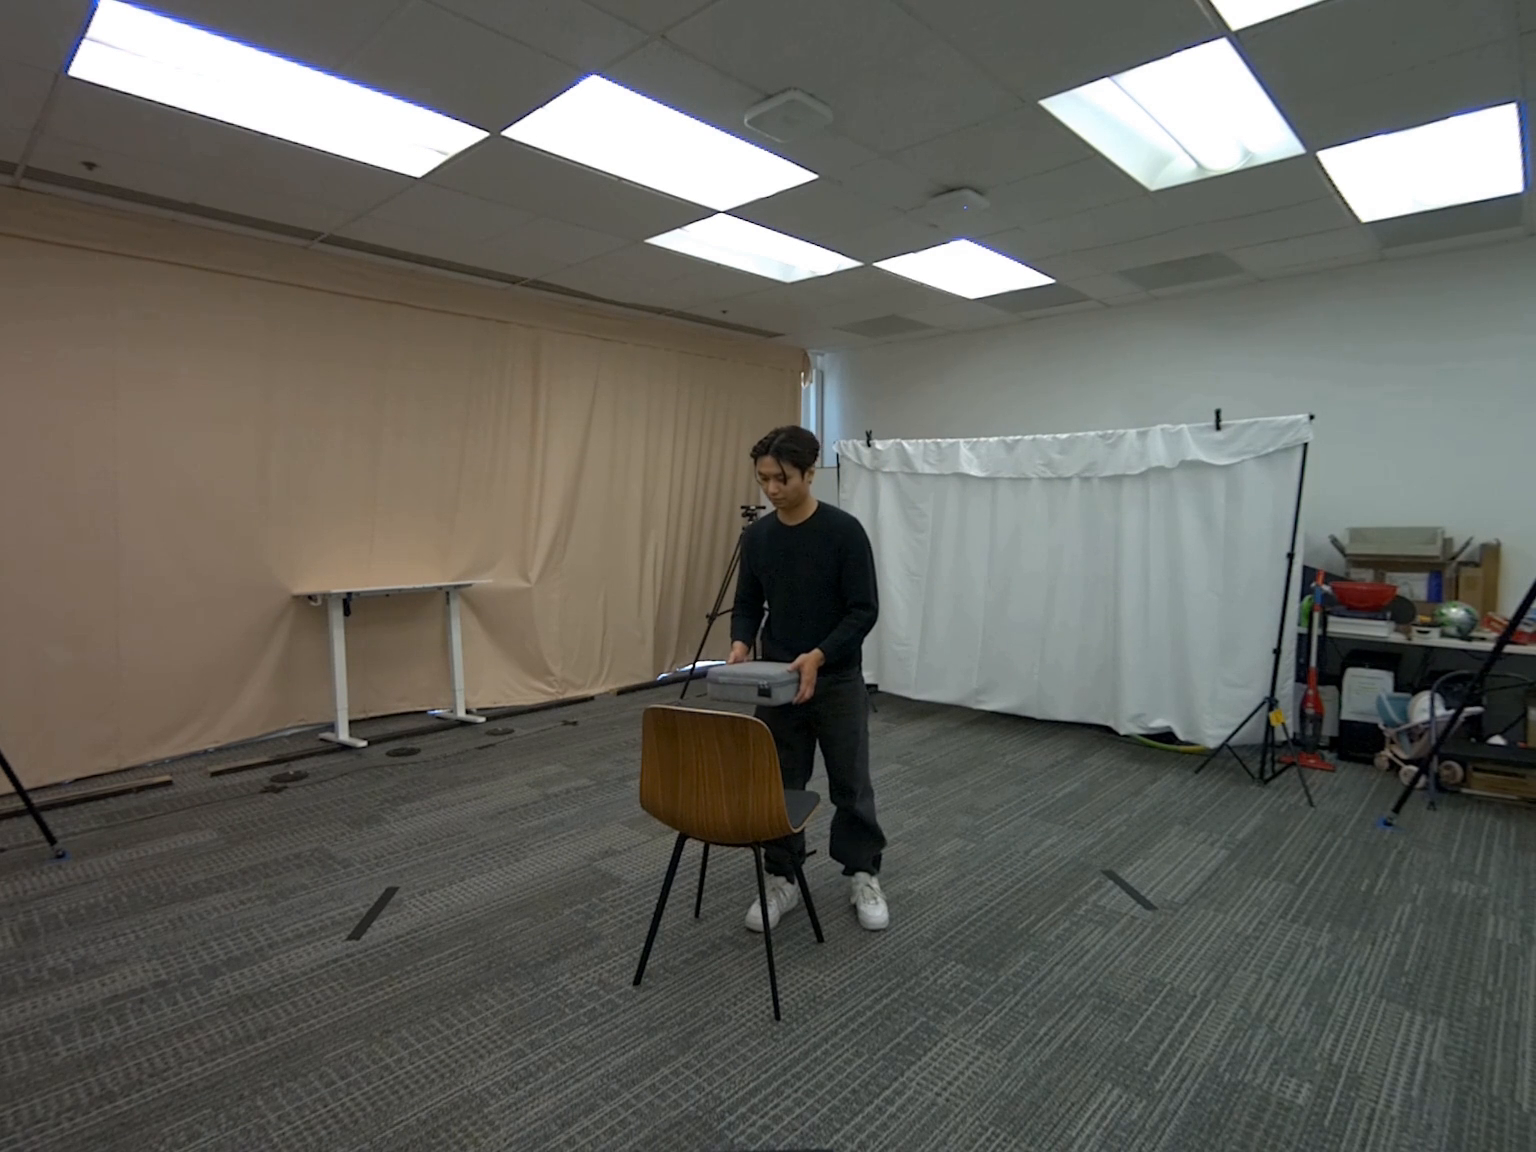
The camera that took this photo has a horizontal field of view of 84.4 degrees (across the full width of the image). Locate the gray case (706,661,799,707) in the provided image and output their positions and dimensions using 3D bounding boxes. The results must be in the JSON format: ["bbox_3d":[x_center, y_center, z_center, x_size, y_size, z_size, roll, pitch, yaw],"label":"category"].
[{"bbox_3d":[-0.032,0.325,2.626,0.264,0.104,0.253,2,1,31],"label":"gray case"}]
